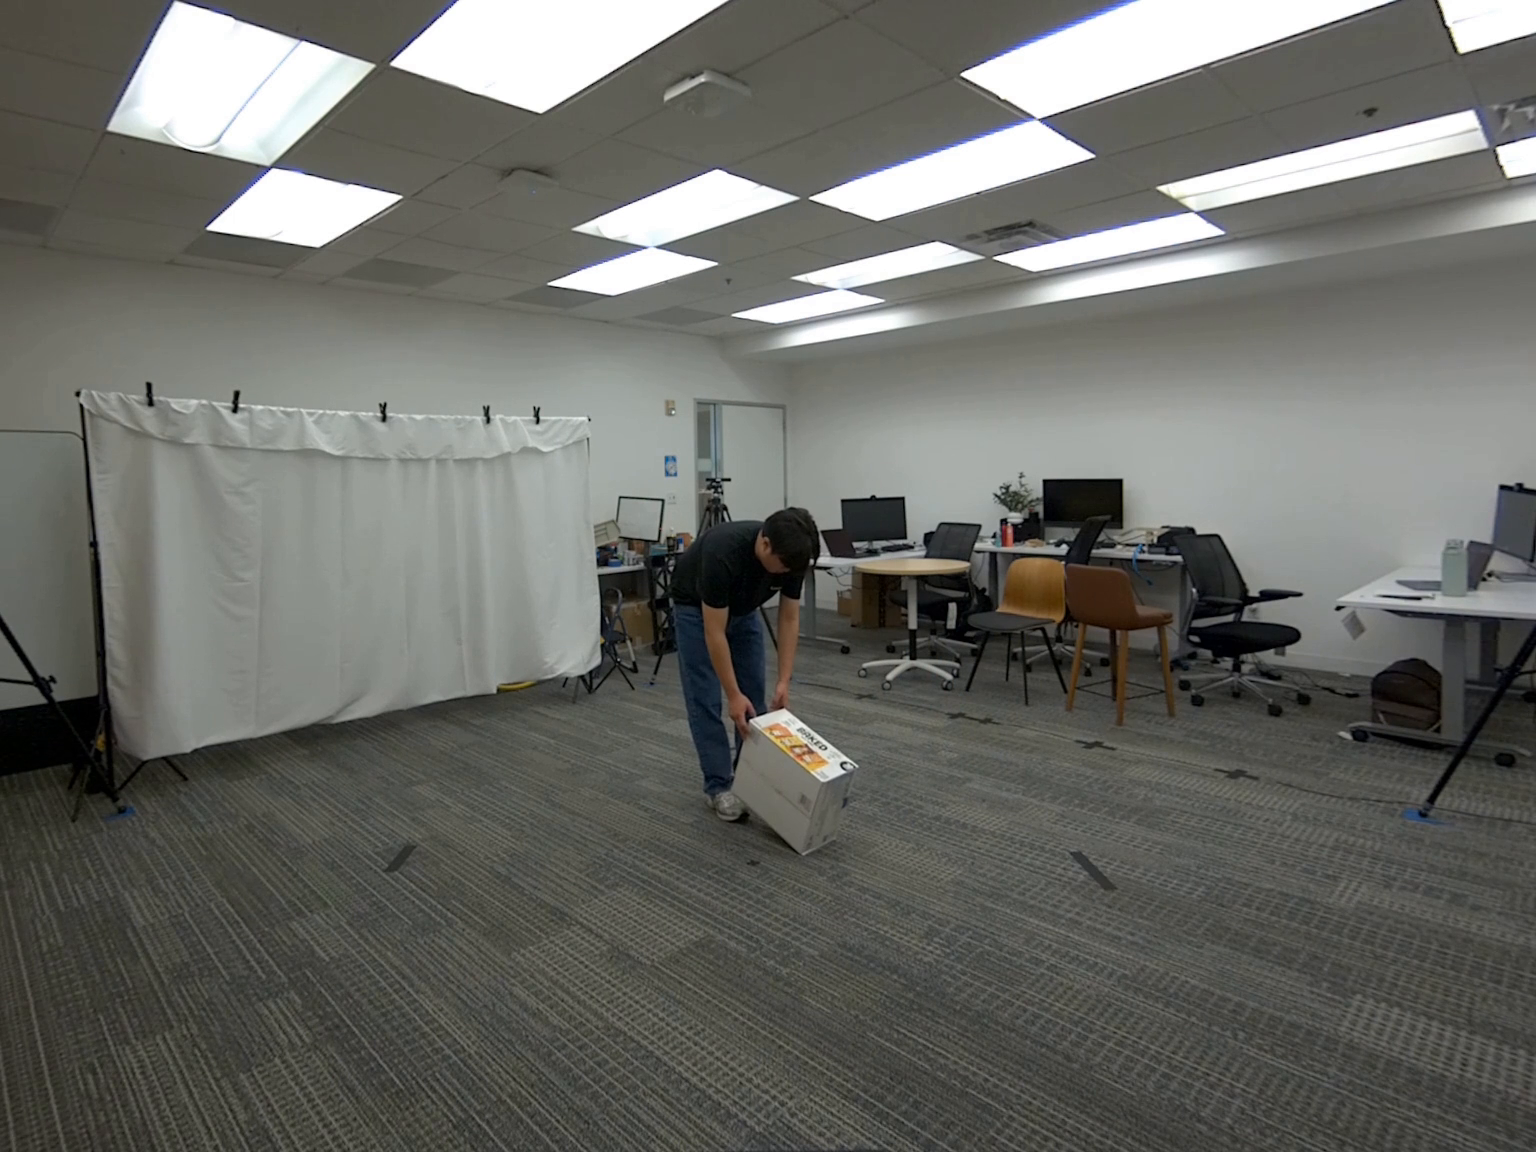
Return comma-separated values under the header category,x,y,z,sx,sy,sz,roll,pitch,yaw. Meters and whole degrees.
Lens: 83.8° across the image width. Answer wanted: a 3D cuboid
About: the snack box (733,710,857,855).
category,x,y,z,sx,sy,sz,roll,pitch,yaw
snack box,0.101,0.784,3.297,0.200,0.336,0.421,-8,30,-43
